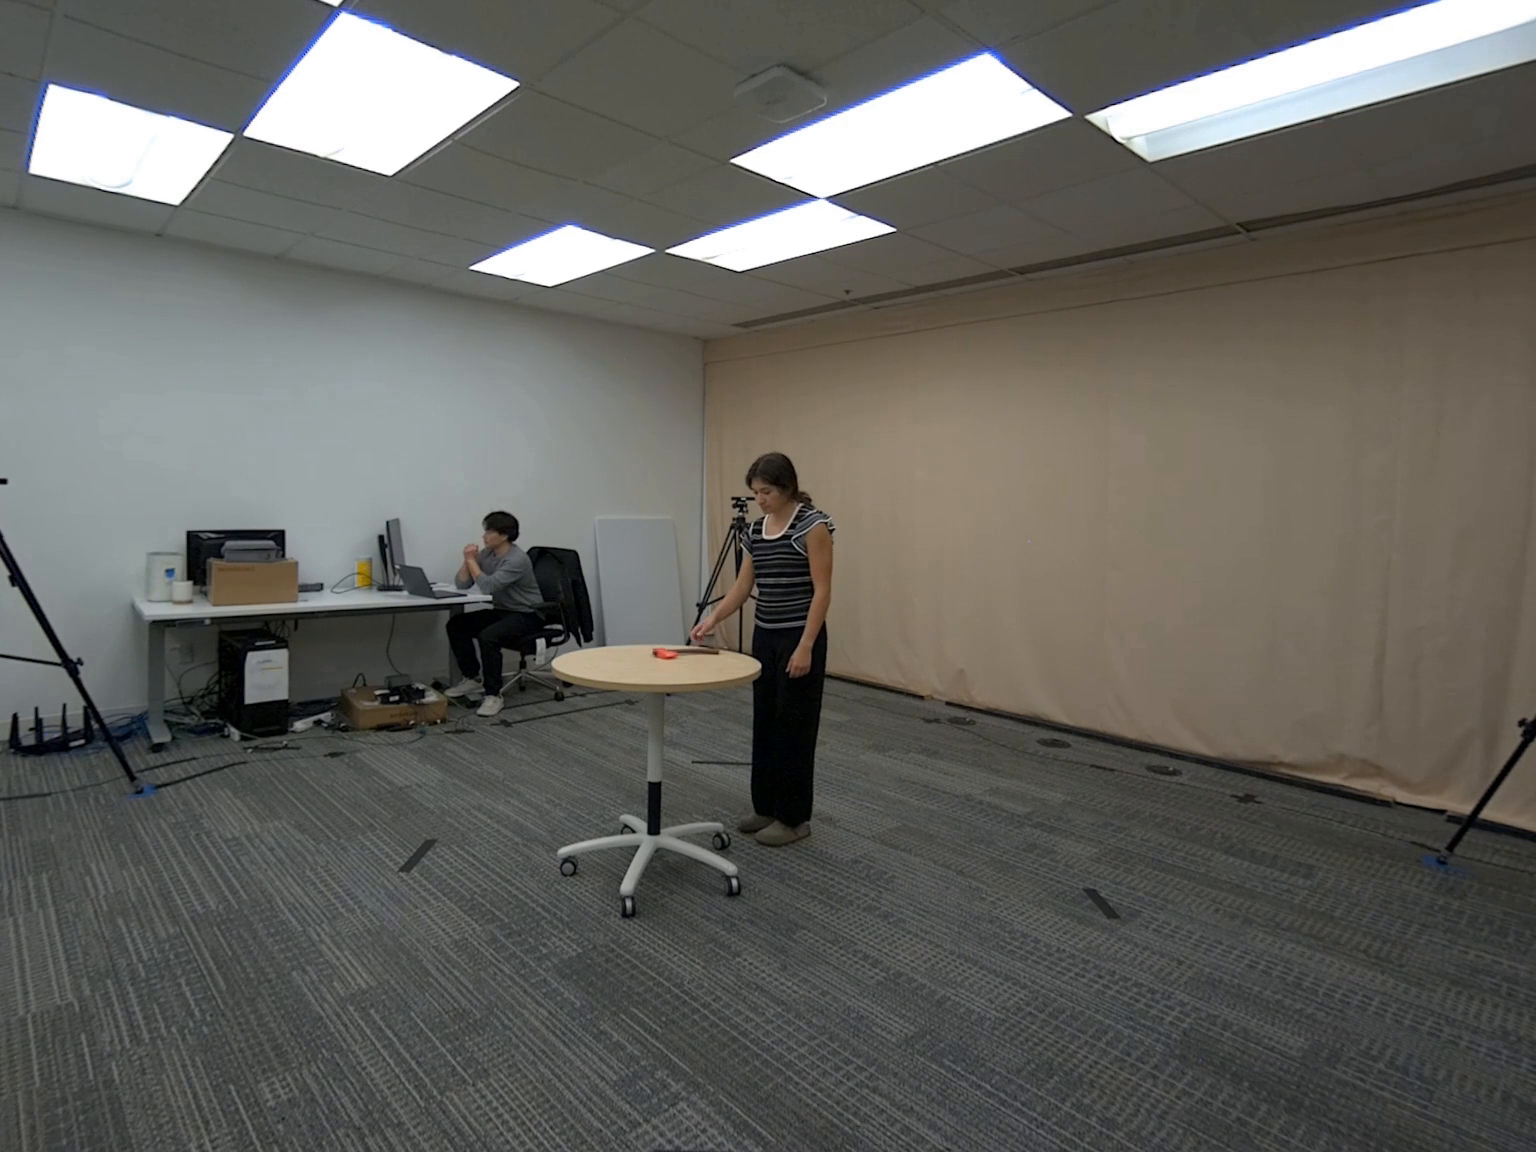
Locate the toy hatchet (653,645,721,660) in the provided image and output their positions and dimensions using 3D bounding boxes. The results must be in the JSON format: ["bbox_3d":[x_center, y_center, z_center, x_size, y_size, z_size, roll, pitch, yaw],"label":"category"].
[{"bbox_3d":[-0.321,0.298,3.232,0.267,0.029,0.133,2,7,-12],"label":"toy hatchet"}]
